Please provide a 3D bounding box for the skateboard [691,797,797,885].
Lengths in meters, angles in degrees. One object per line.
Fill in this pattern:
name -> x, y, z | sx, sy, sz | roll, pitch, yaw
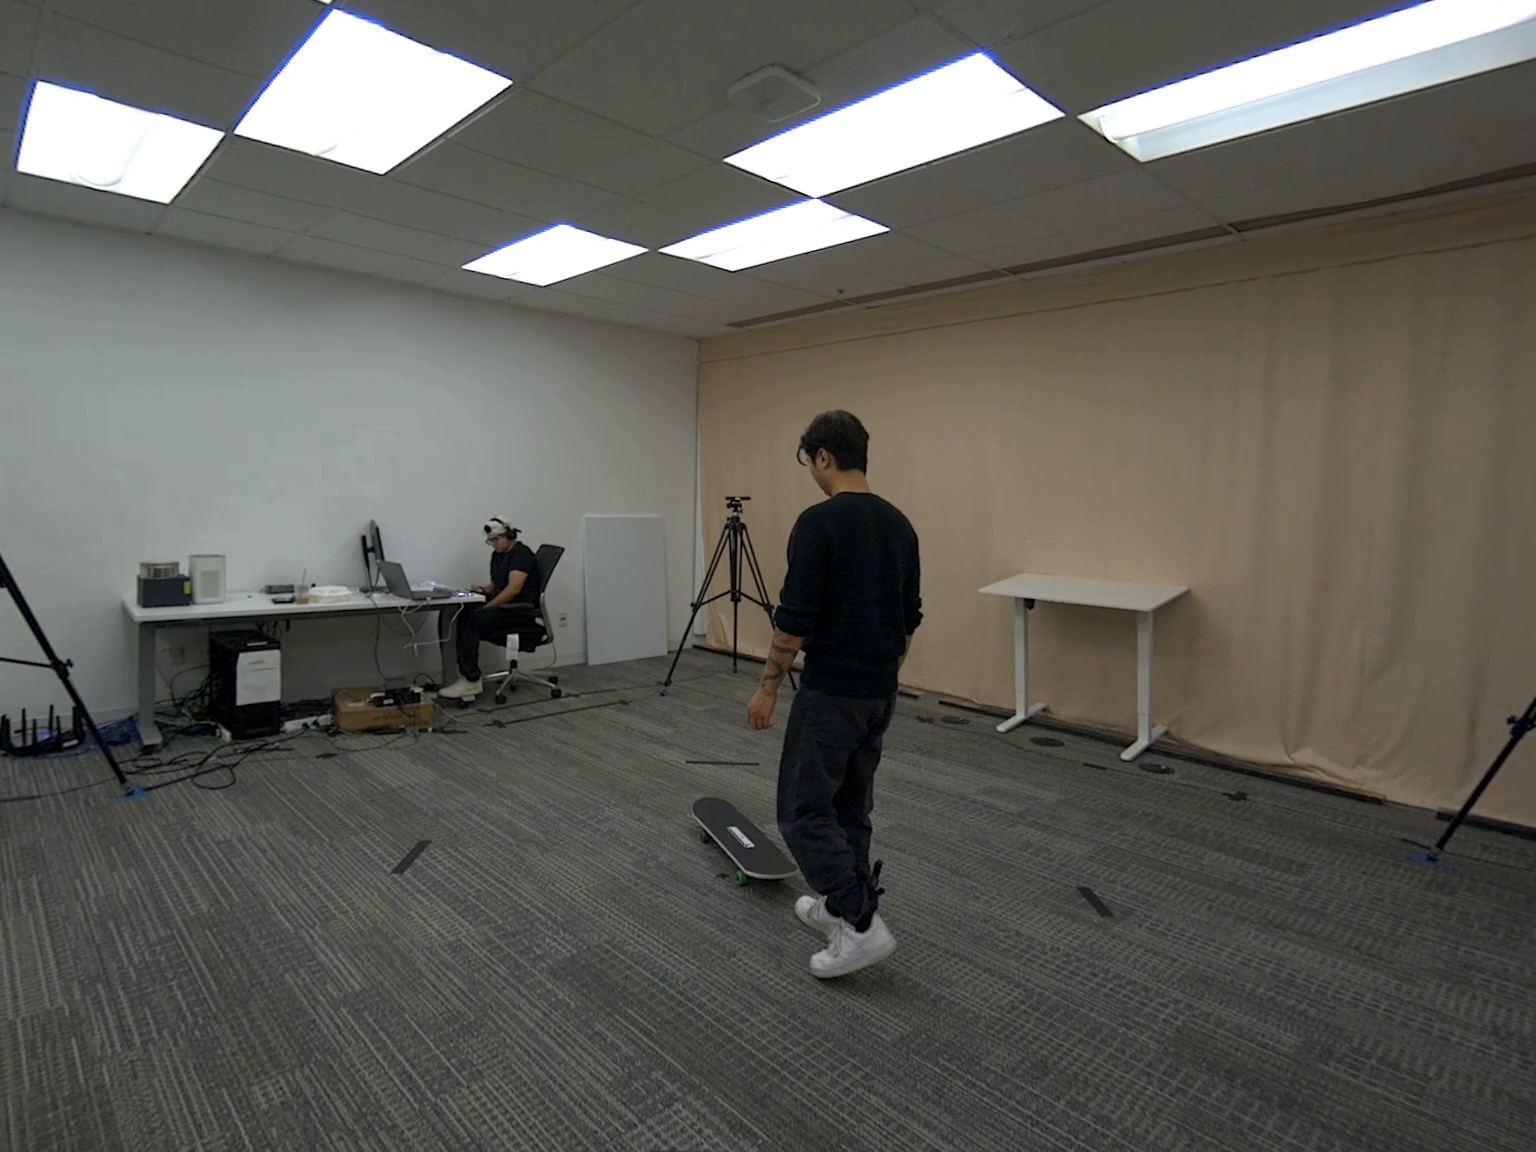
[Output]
skateboard -> -0.114, 1.038, 3.250 | 0.190, 0.110, 0.801 | -1, 6, -23
